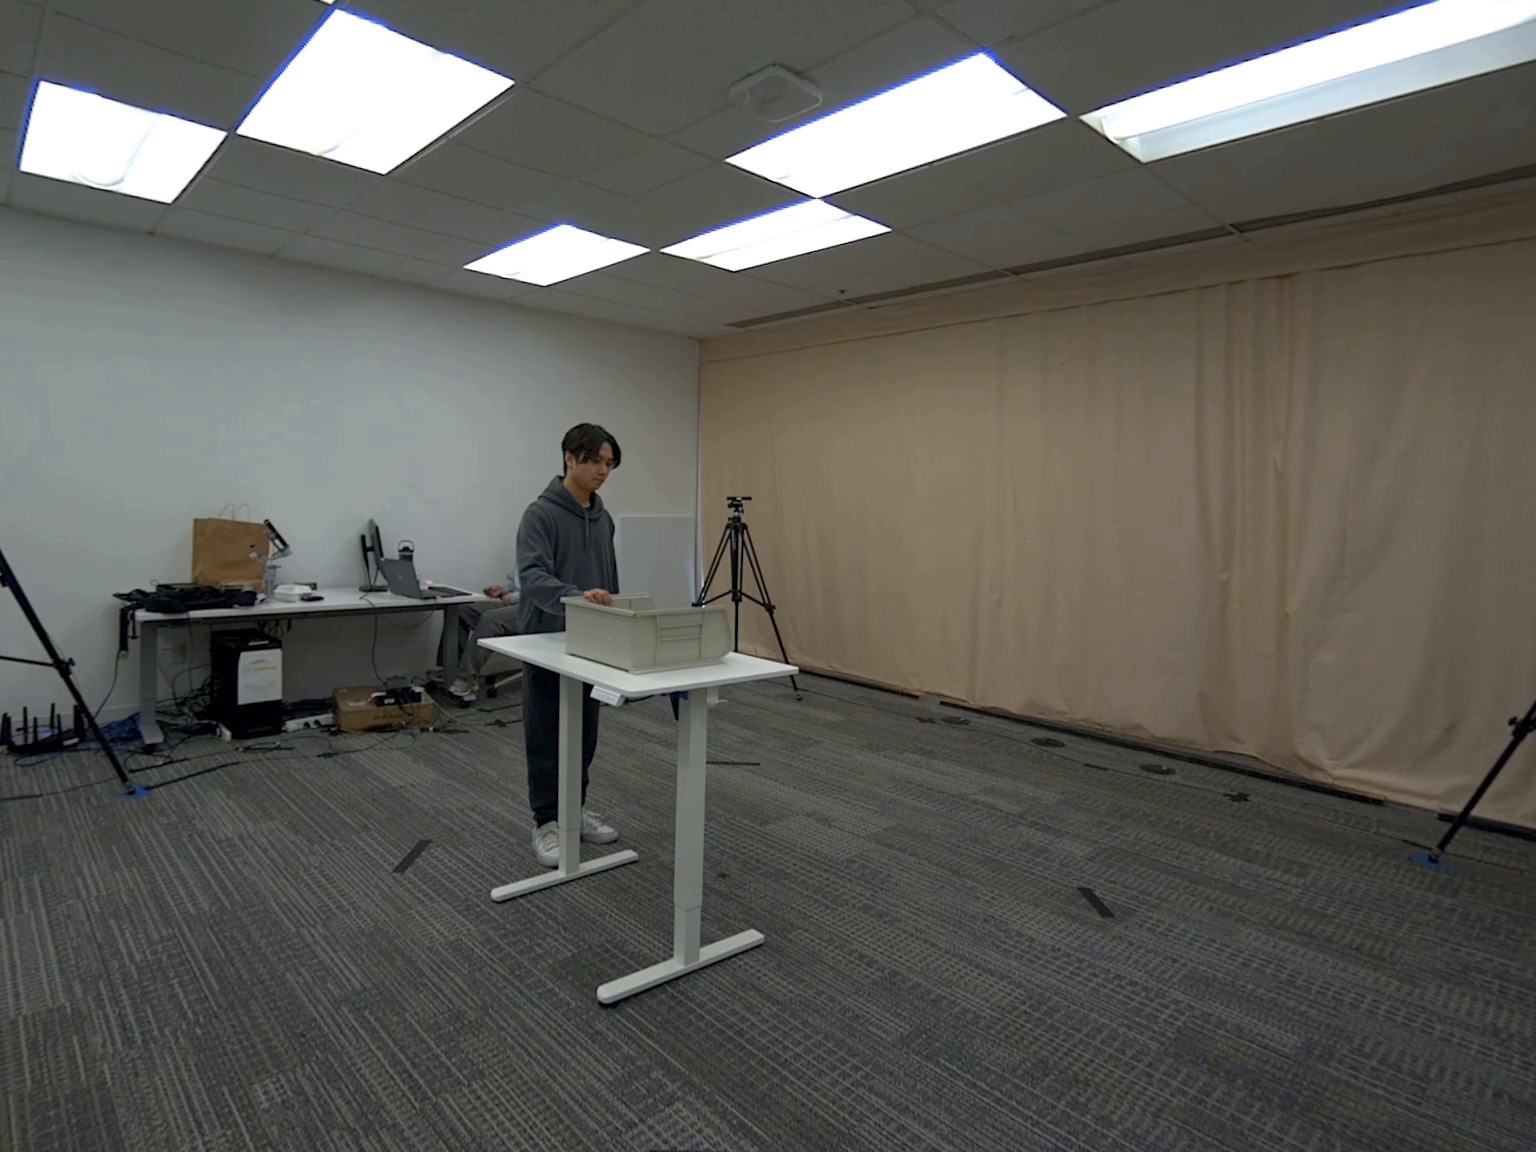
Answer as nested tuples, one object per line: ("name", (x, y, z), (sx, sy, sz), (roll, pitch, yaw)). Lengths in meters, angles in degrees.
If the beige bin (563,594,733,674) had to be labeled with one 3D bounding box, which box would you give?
("beige bin", (-0.386, 0.171, 2.631), (0.369, 0.188, 0.433), (-3, 6, -41))
